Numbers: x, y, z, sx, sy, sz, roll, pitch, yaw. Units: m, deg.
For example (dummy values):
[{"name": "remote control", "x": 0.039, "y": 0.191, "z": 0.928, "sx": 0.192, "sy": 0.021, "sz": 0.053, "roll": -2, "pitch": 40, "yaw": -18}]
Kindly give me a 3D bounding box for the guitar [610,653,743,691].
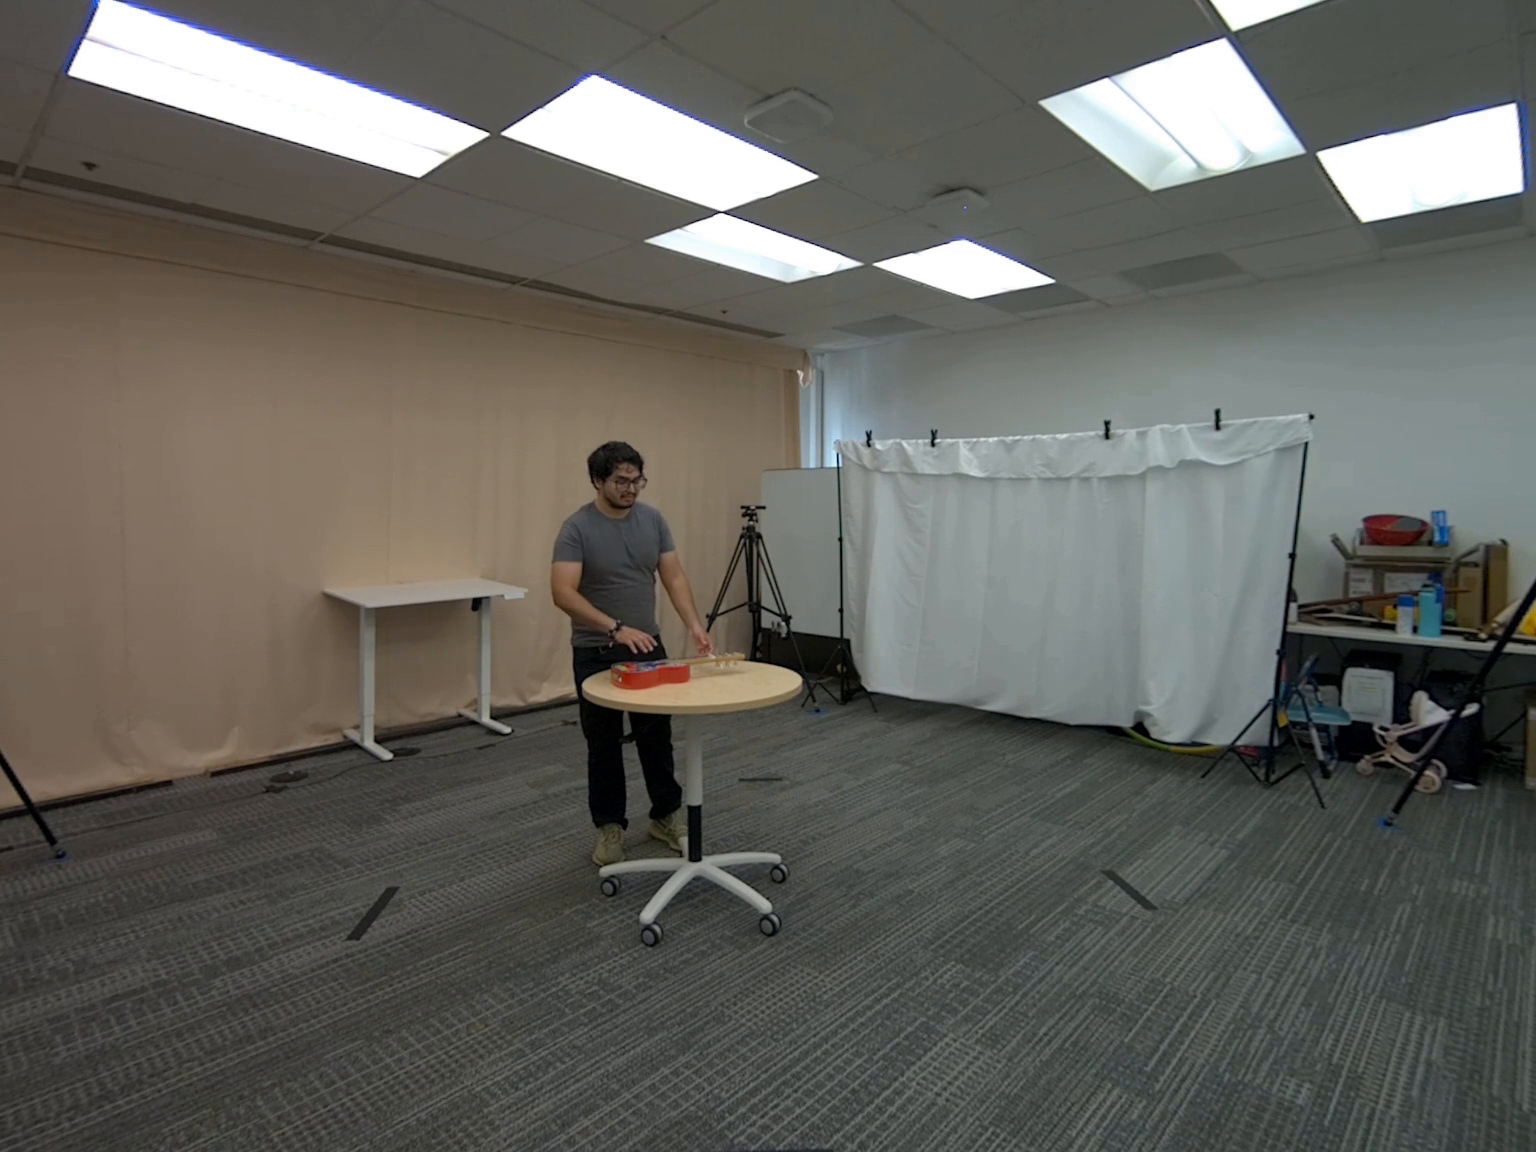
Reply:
[{"name": "guitar", "x": -0.302, "y": 0.331, "z": 2.952, "sx": 0.489, "sy": 0.070, "sz": 0.197, "roll": -3, "pitch": 3, "yaw": -18}]
